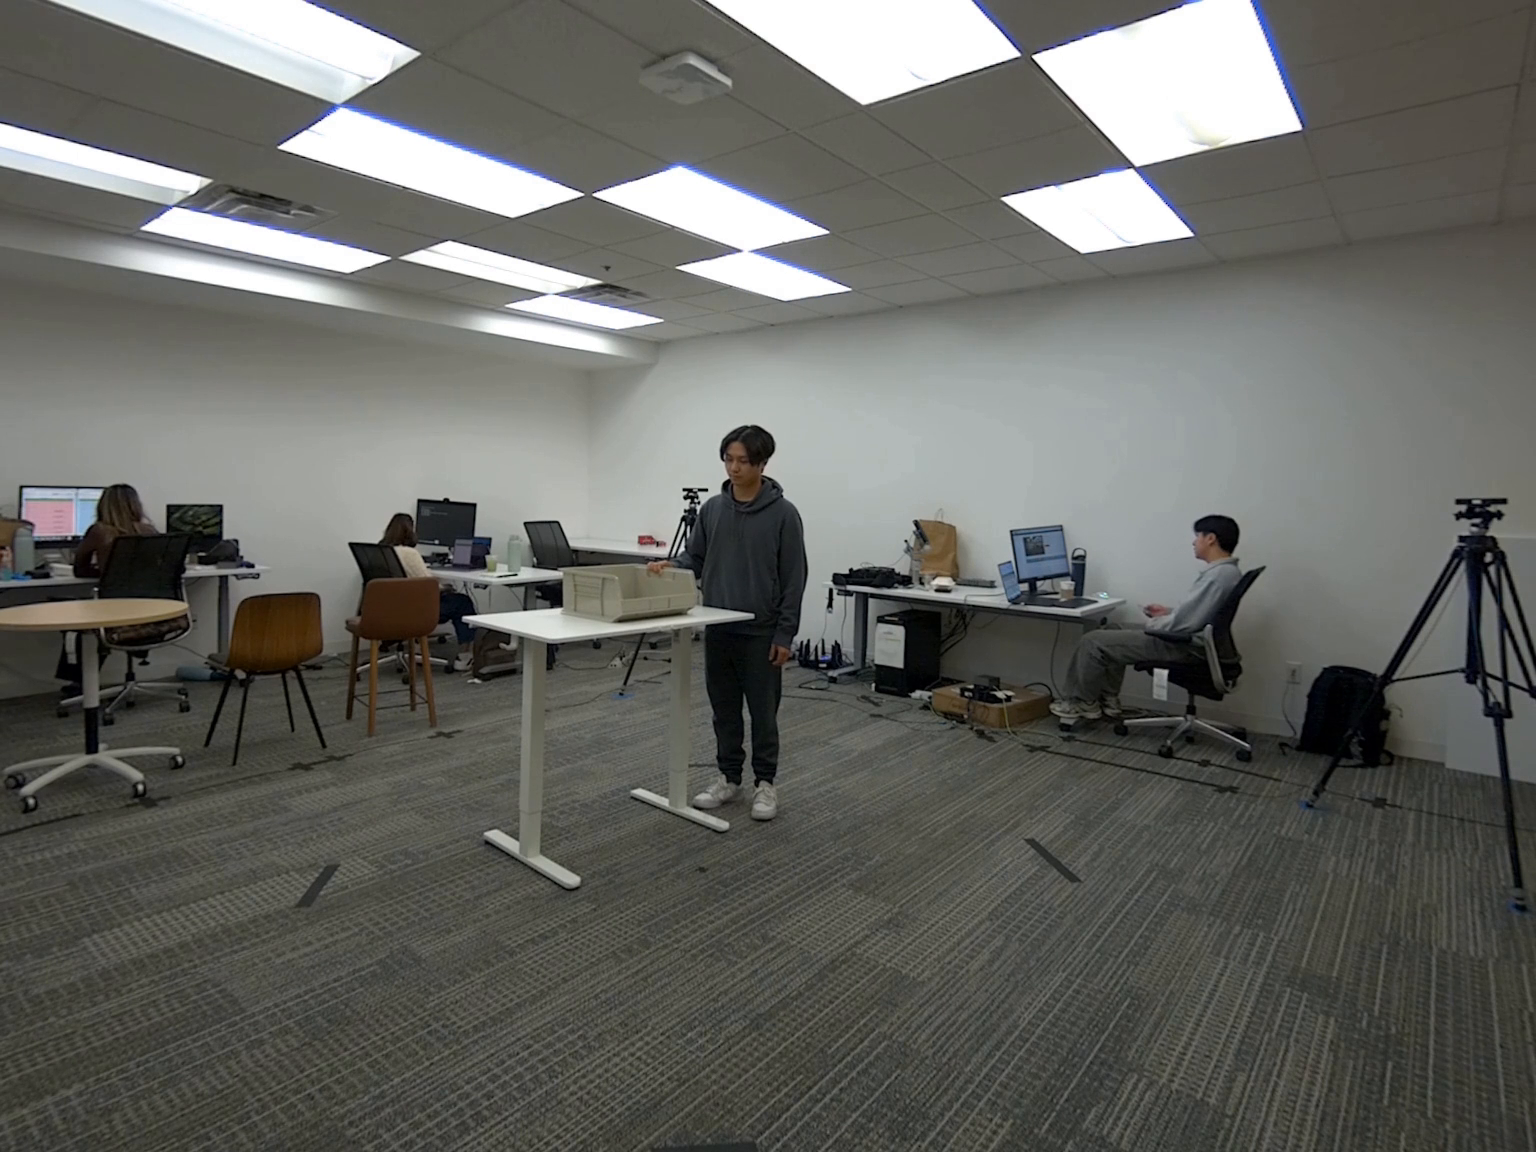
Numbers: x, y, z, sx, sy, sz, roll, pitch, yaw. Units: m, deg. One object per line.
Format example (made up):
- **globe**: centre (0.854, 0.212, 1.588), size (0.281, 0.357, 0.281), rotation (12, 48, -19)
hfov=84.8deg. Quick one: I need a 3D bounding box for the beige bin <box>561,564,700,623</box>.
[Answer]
- **beige bin**: centre (-0.568, 0.063, 3.408), size (0.390, 0.188, 0.410), rotation (5, 6, 40)
